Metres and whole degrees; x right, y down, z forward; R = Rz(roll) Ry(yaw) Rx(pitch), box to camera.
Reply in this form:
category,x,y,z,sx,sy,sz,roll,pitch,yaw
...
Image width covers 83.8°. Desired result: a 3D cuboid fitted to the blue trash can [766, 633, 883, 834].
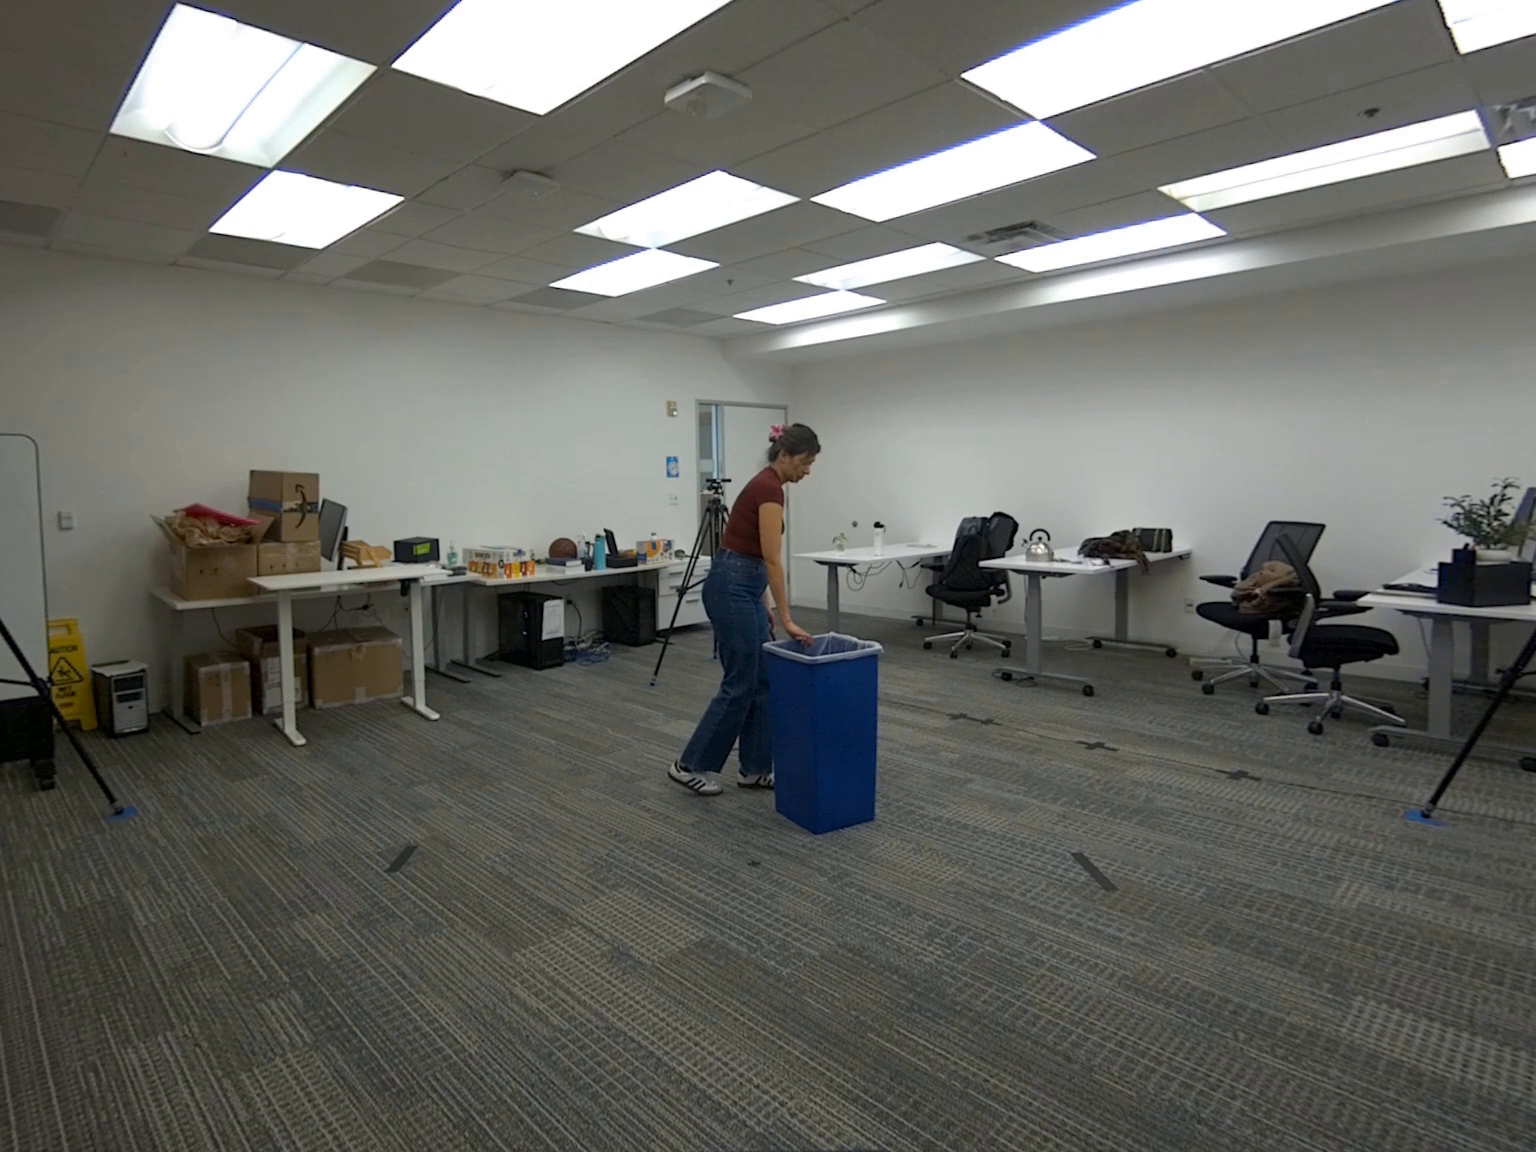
category,x,y,z,sx,sy,sz,roll,pitch,yaw
blue trash can,0.230,0.635,3.513,0.365,0.711,0.389,-3,4,-32
